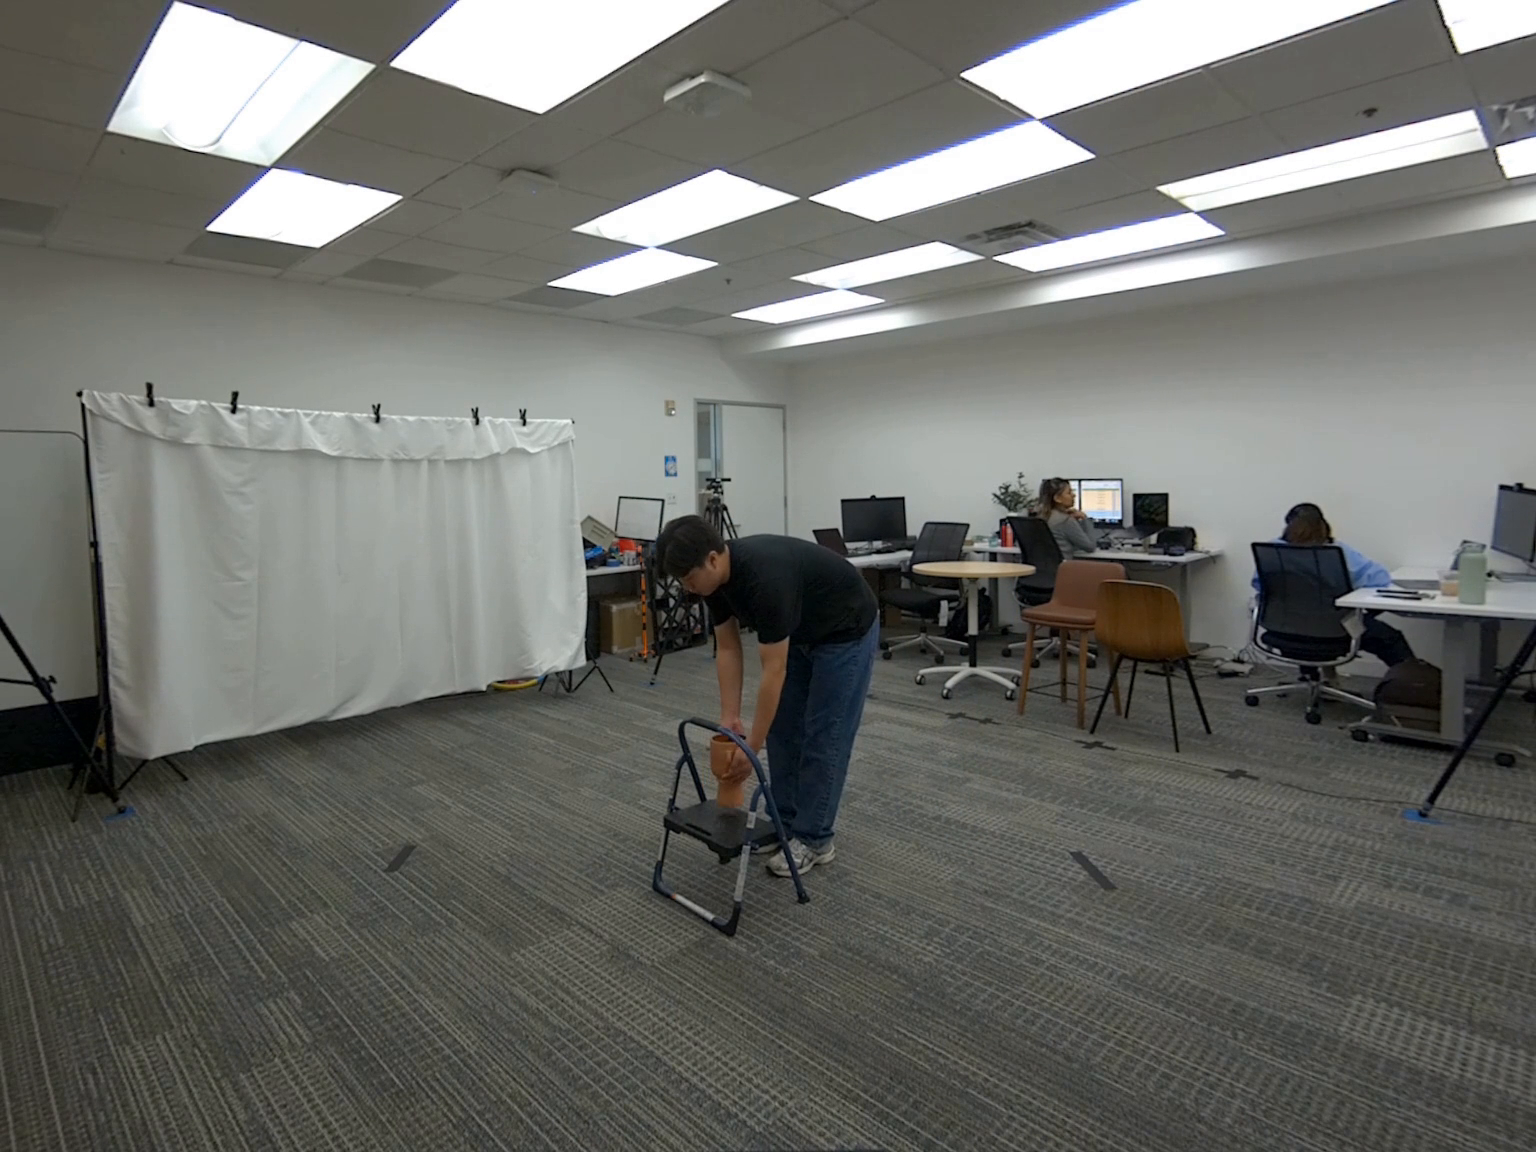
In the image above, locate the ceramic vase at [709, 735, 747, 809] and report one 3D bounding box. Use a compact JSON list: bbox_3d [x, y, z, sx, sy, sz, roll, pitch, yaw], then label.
[{"bbox_3d":[-0.127,0.658,2.897,0.138,0.219,0.155,1,4,37],"label":"ceramic vase"}]
